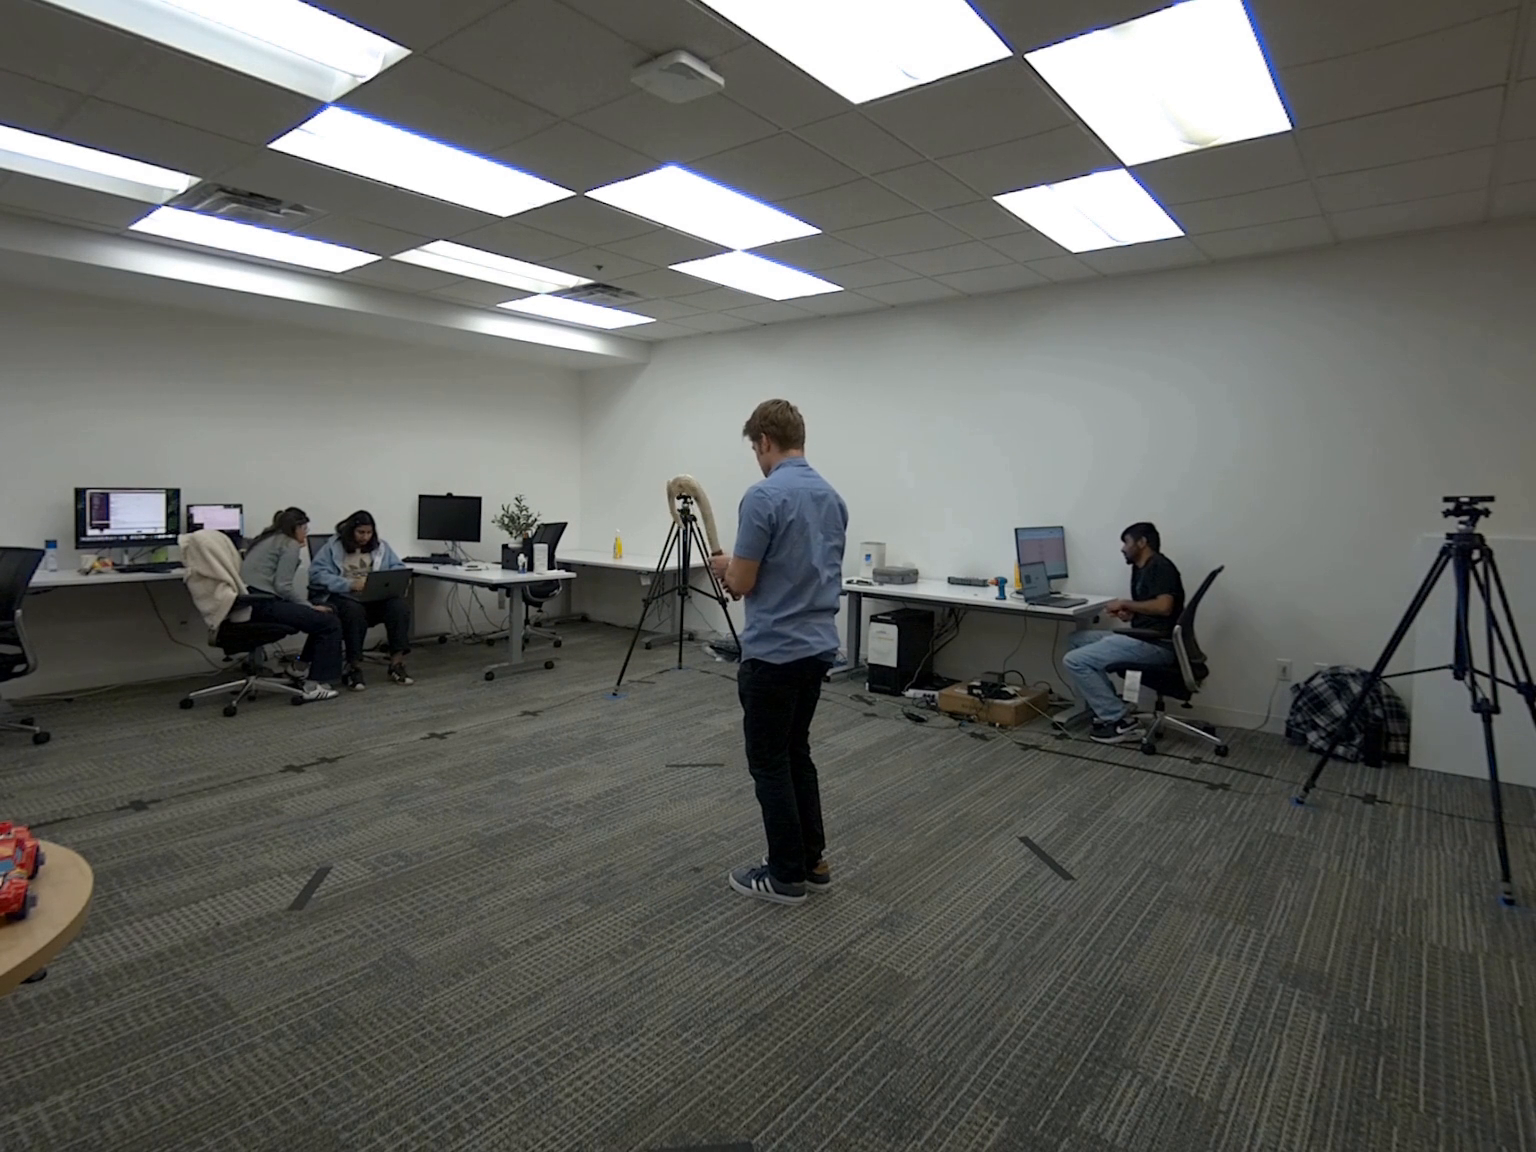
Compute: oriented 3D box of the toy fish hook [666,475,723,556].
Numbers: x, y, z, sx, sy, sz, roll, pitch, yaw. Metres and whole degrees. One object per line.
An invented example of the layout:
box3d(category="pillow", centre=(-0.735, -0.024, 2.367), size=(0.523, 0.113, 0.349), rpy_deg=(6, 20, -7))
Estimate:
box3d(category="toy fish hook", centre=(-0.253, -0.140, 3.144), size=(0.047, 0.504, 0.229), rpy_deg=(-25, 5, -36))
